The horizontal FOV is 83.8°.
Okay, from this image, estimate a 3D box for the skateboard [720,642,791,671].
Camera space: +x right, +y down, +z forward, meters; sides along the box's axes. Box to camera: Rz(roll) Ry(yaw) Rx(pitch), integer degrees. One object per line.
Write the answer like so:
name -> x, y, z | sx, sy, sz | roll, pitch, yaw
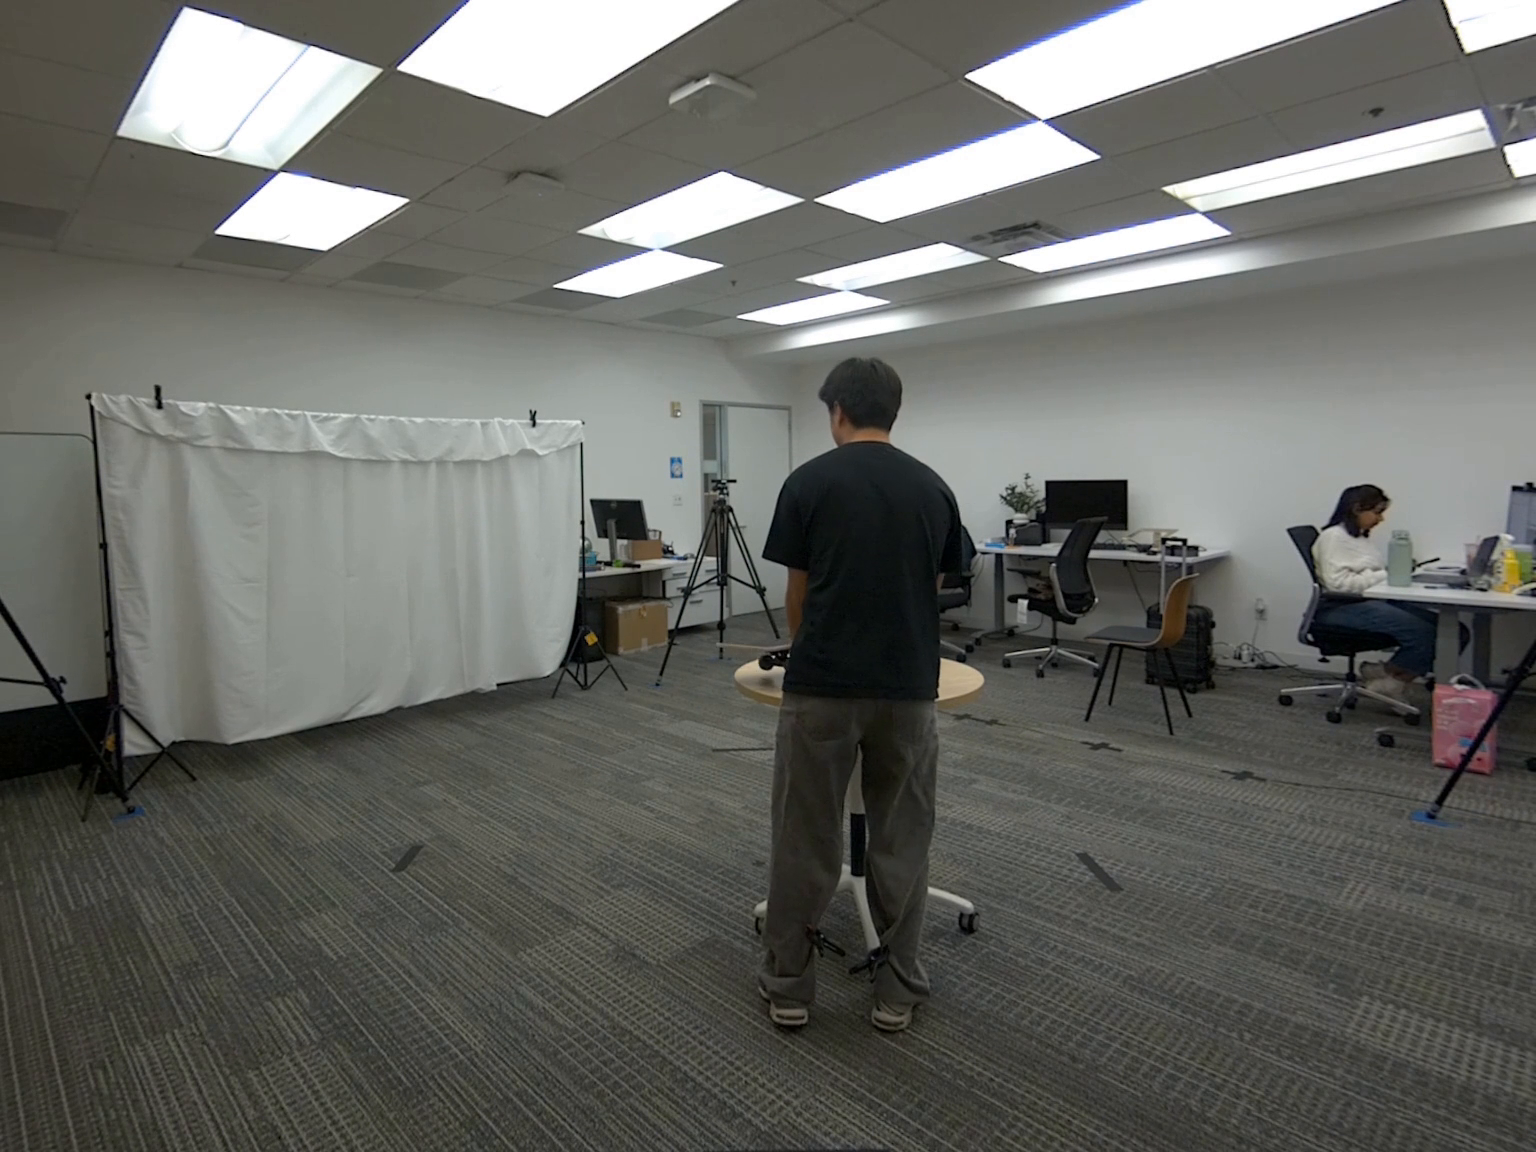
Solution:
skateboard -> 0.178, 0.223, 2.699 | 0.768, 0.110, 0.198 | -5, 1, -28
